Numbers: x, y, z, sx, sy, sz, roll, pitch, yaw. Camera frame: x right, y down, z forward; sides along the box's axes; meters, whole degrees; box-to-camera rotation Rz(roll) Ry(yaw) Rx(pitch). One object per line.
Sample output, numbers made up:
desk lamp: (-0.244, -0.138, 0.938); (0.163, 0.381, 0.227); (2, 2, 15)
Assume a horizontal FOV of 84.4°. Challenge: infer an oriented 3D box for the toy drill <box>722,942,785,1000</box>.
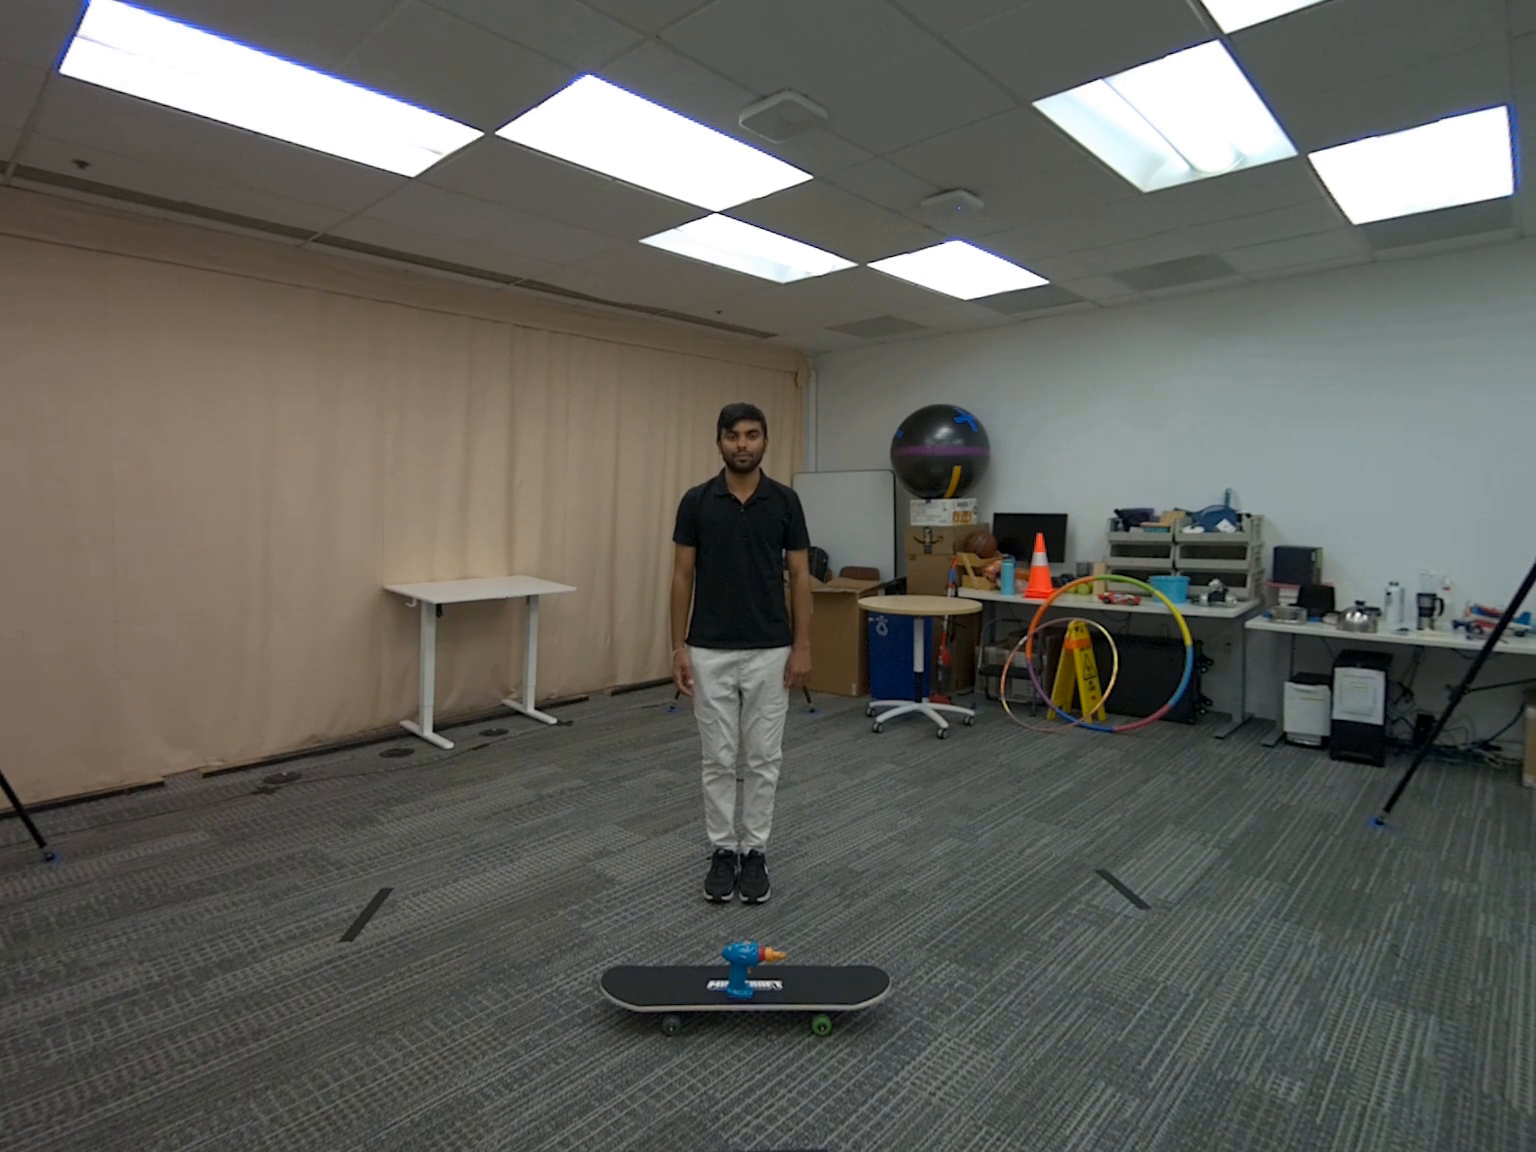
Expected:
toy drill: (-0.031, 1.037, 2.244); (0.170, 0.146, 0.061); (0, 1, 2)
